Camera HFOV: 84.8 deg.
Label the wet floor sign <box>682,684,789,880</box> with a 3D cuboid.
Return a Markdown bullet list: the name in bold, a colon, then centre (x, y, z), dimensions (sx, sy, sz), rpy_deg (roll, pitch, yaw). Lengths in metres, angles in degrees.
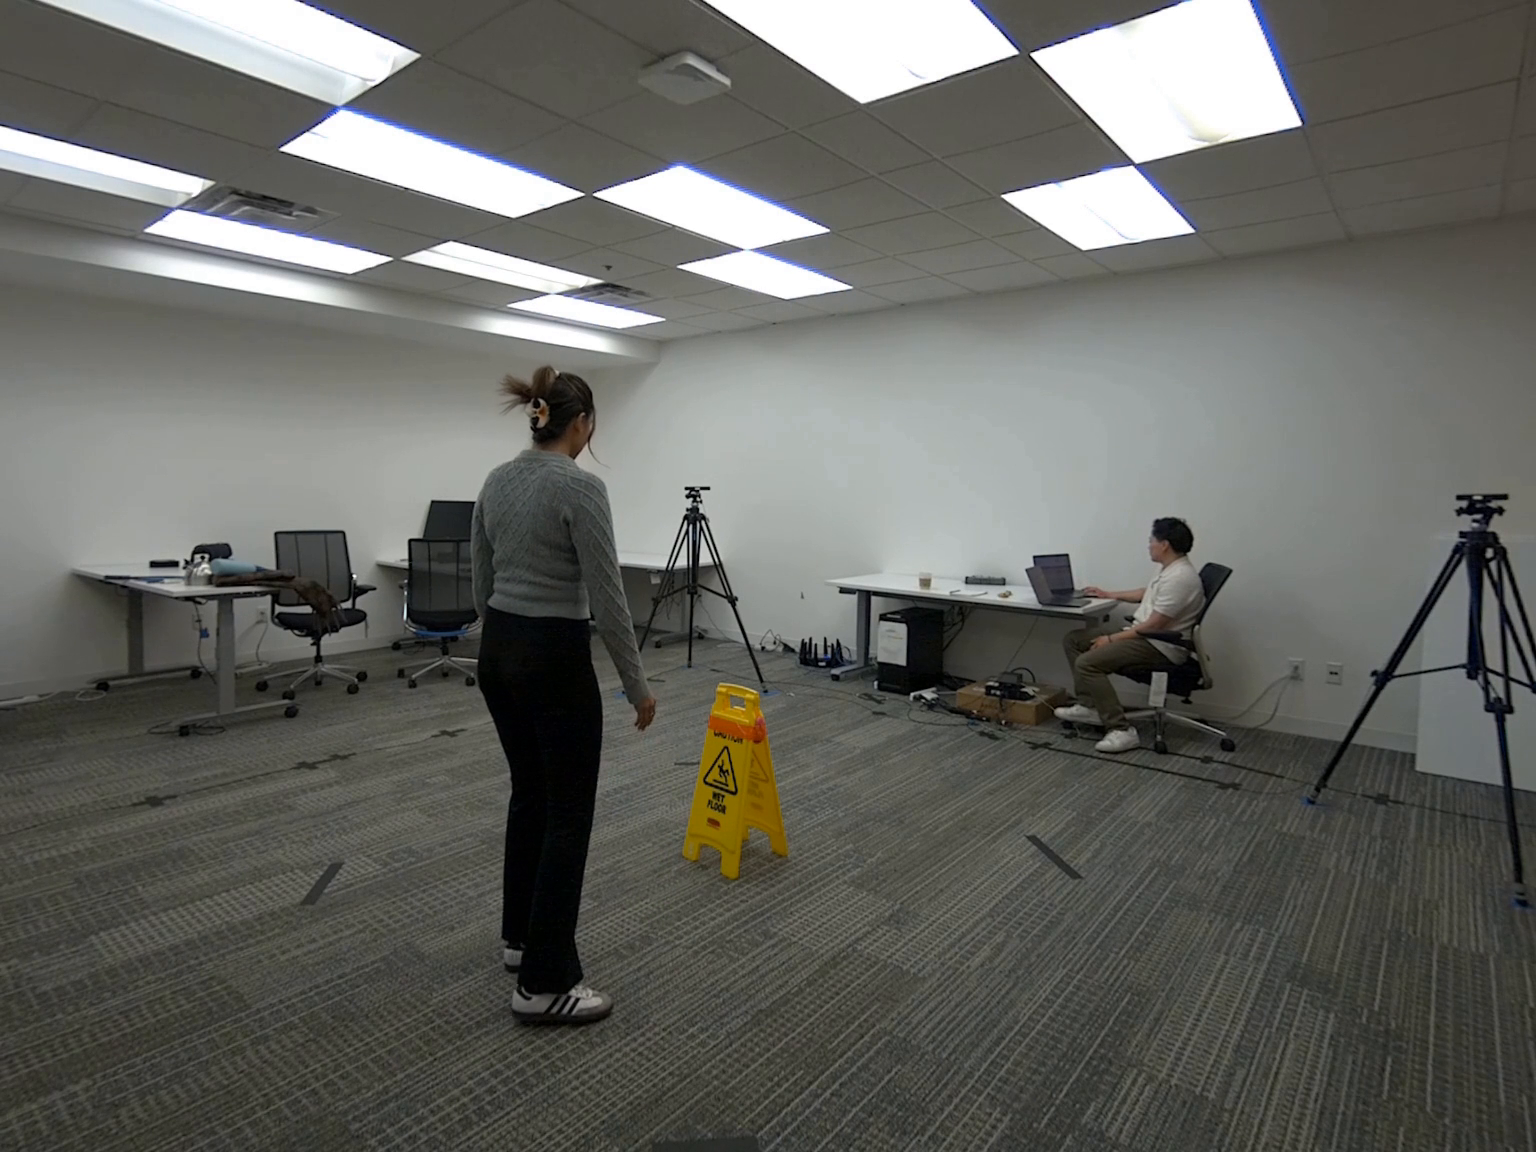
- **wet floor sign**: centre (-0.127, 0.734, 3.200), dimensions (0.292, 0.644, 0.281), rpy_deg (4, 4, 43)
